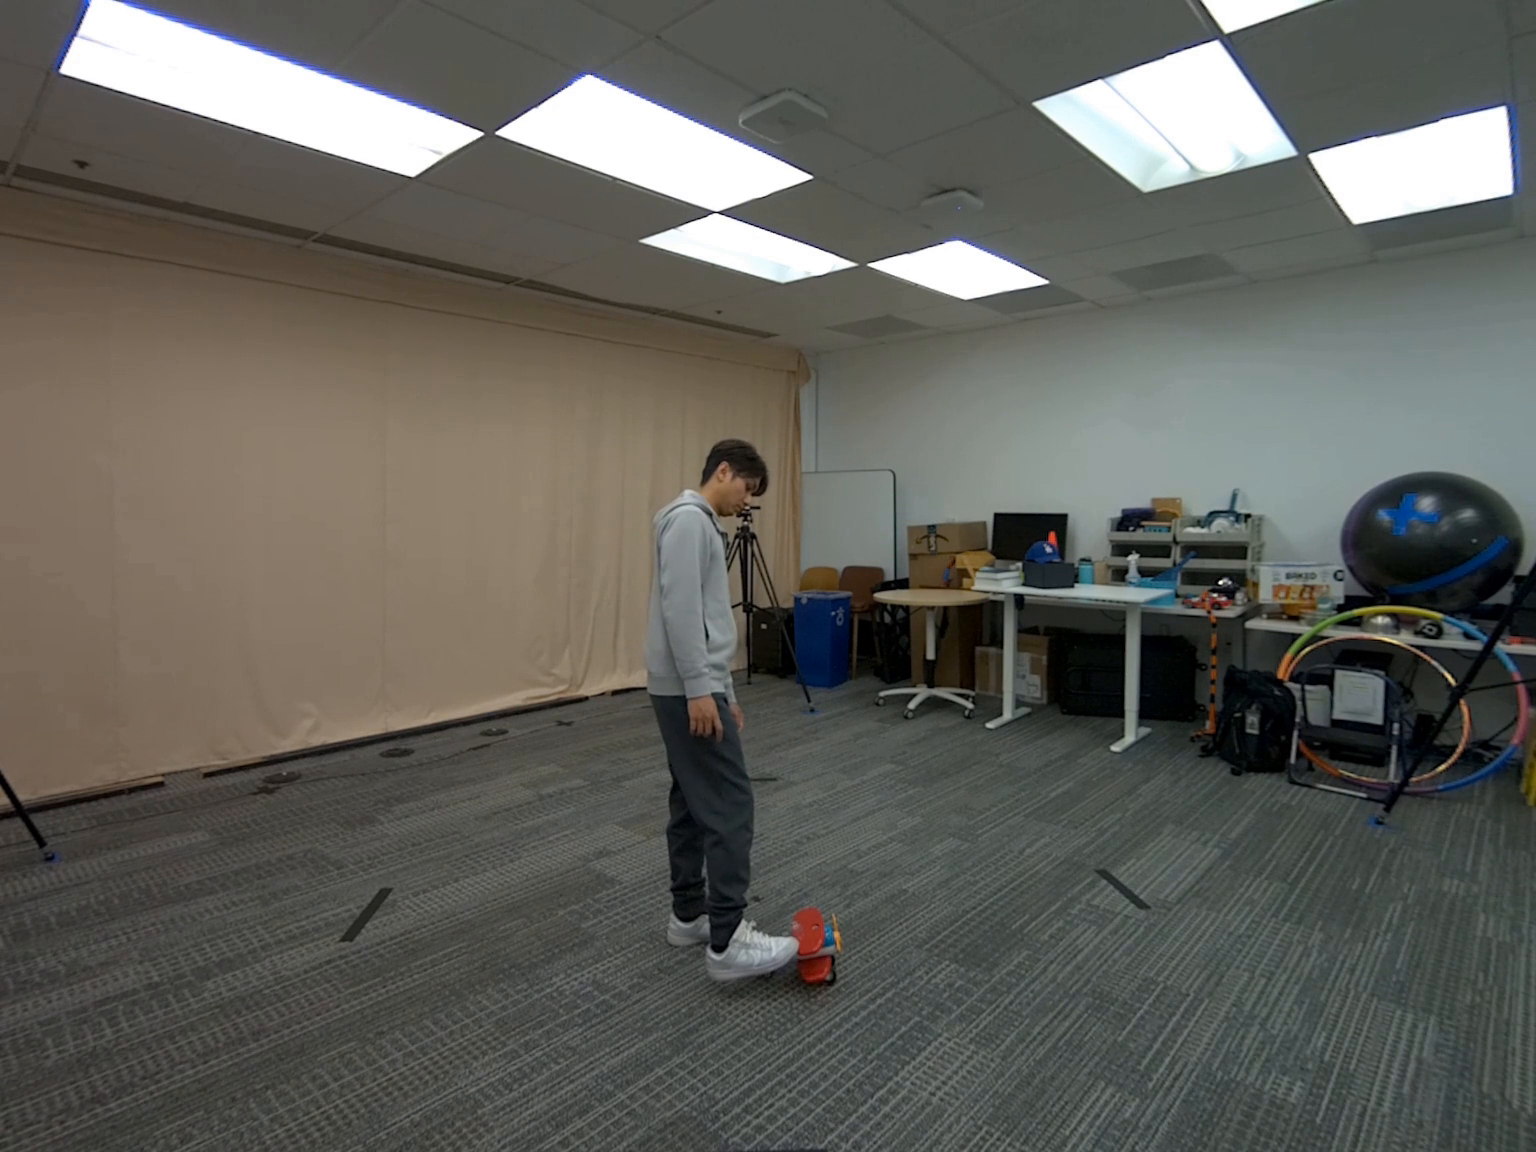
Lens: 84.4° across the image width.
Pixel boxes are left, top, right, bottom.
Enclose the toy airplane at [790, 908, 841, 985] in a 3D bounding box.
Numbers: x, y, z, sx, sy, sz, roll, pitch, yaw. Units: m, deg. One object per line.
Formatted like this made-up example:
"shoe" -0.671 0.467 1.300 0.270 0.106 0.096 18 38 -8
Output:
"toy airplane" 0.098 1.114 2.471 0.253 0.156 0.258 -2 6 -26
